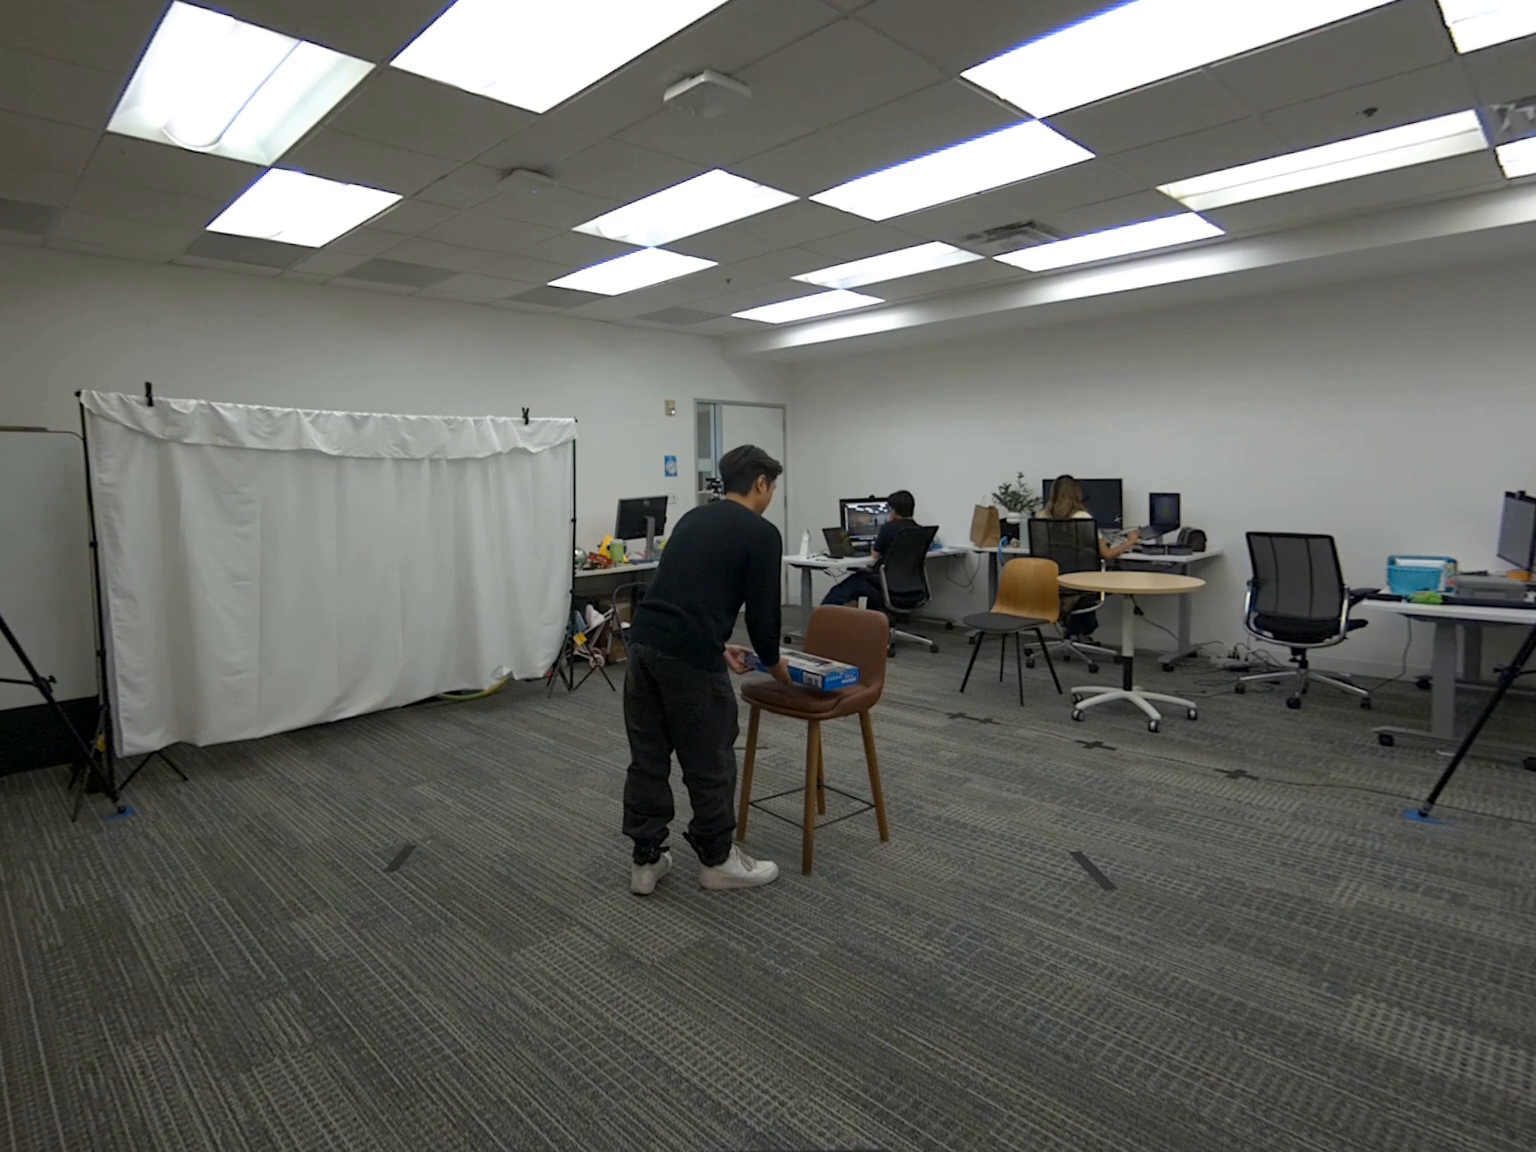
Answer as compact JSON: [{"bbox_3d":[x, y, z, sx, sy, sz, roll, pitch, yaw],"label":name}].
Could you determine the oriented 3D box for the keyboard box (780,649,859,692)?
[{"bbox_3d":[0.115,0.338,3.169,0.171,0.059,0.451,-6,10,-39],"label":"keyboard box"}]
